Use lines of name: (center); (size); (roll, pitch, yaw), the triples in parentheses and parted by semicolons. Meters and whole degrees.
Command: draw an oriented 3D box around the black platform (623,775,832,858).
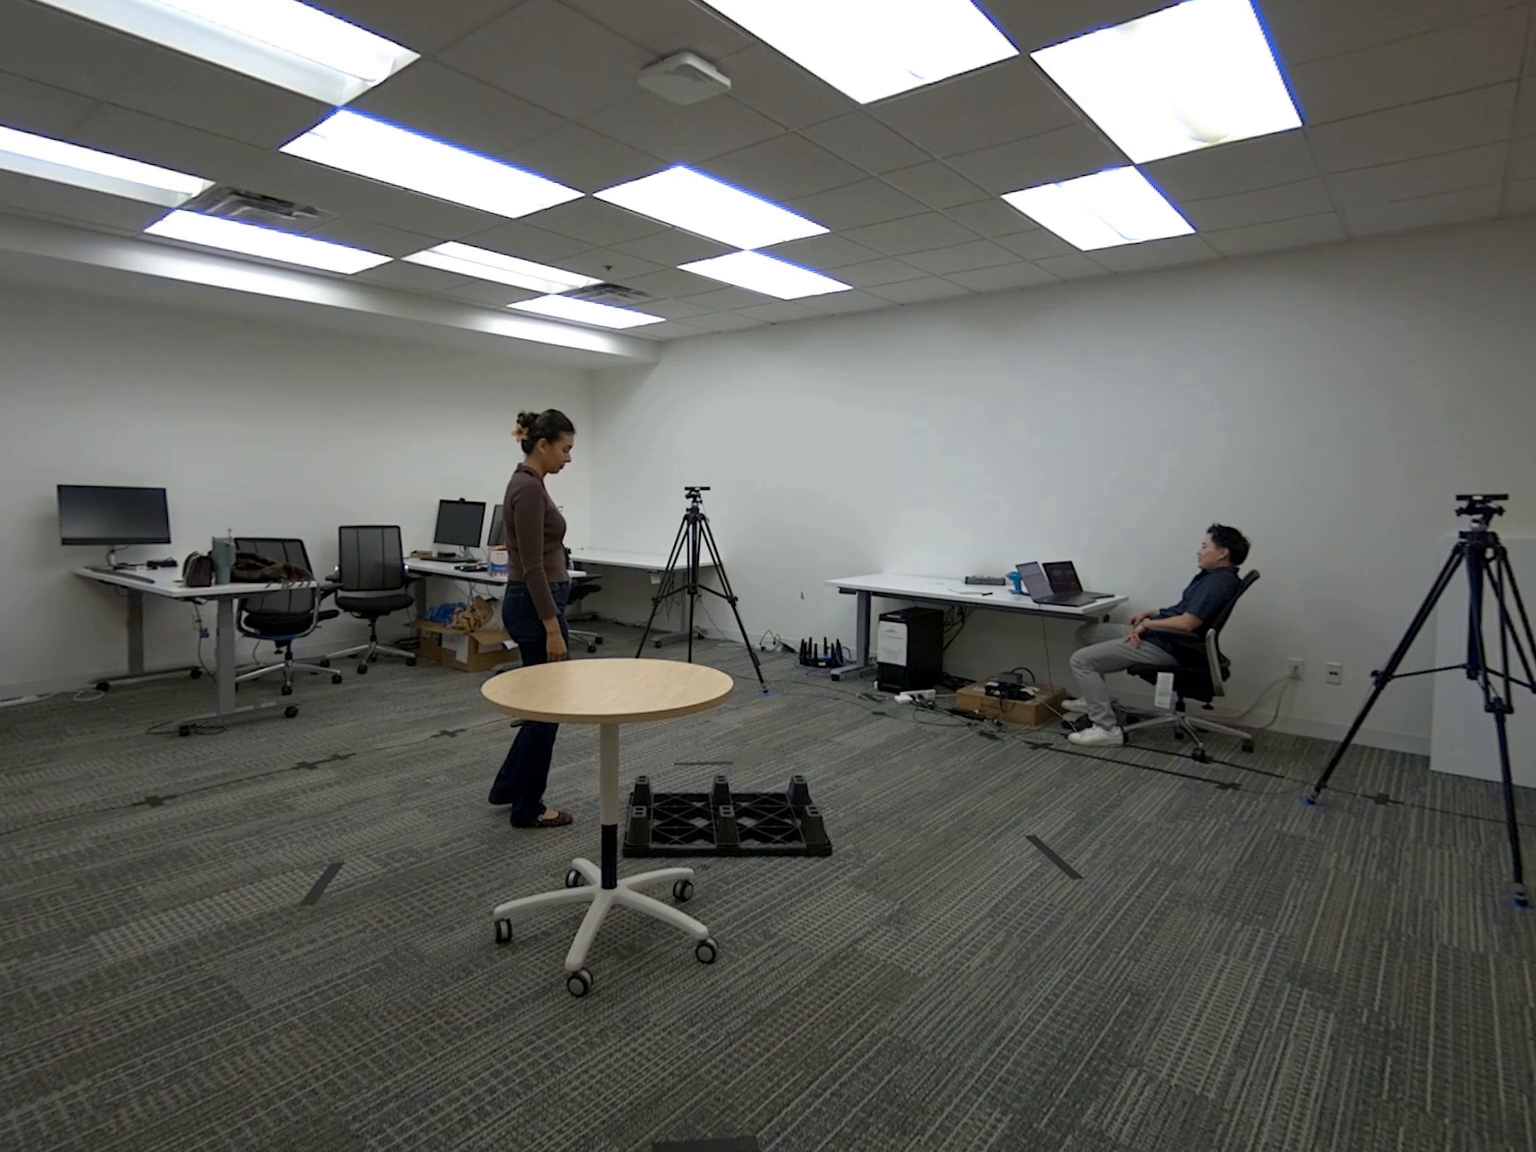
black platform: (-0.188, 0.960, 3.499); (0.802, 0.143, 0.611); (0, 6, -5)
